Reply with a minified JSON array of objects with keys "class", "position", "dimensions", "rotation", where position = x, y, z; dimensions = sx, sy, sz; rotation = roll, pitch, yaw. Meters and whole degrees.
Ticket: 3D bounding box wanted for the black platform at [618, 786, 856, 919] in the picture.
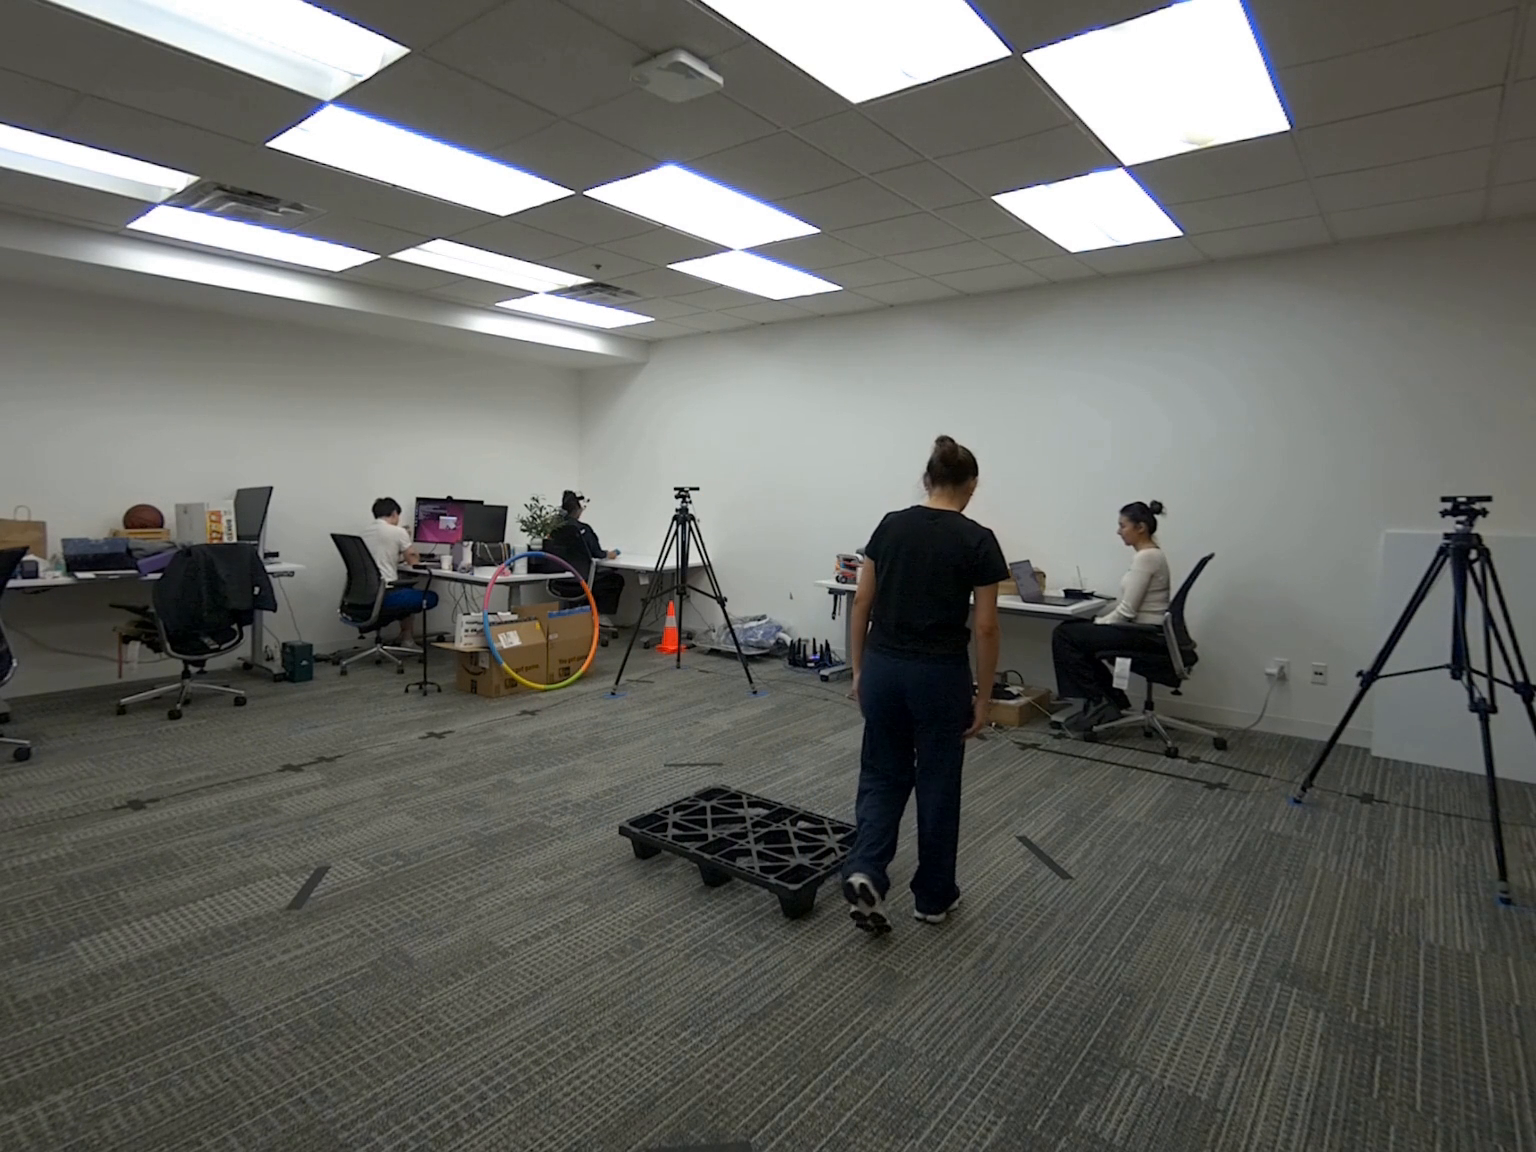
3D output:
[{"class":"black platform","position":[-0.055,0.999,3.168],"dimensions":[0.832,0.143,0.587],"rotation":[6,7,38]}]
